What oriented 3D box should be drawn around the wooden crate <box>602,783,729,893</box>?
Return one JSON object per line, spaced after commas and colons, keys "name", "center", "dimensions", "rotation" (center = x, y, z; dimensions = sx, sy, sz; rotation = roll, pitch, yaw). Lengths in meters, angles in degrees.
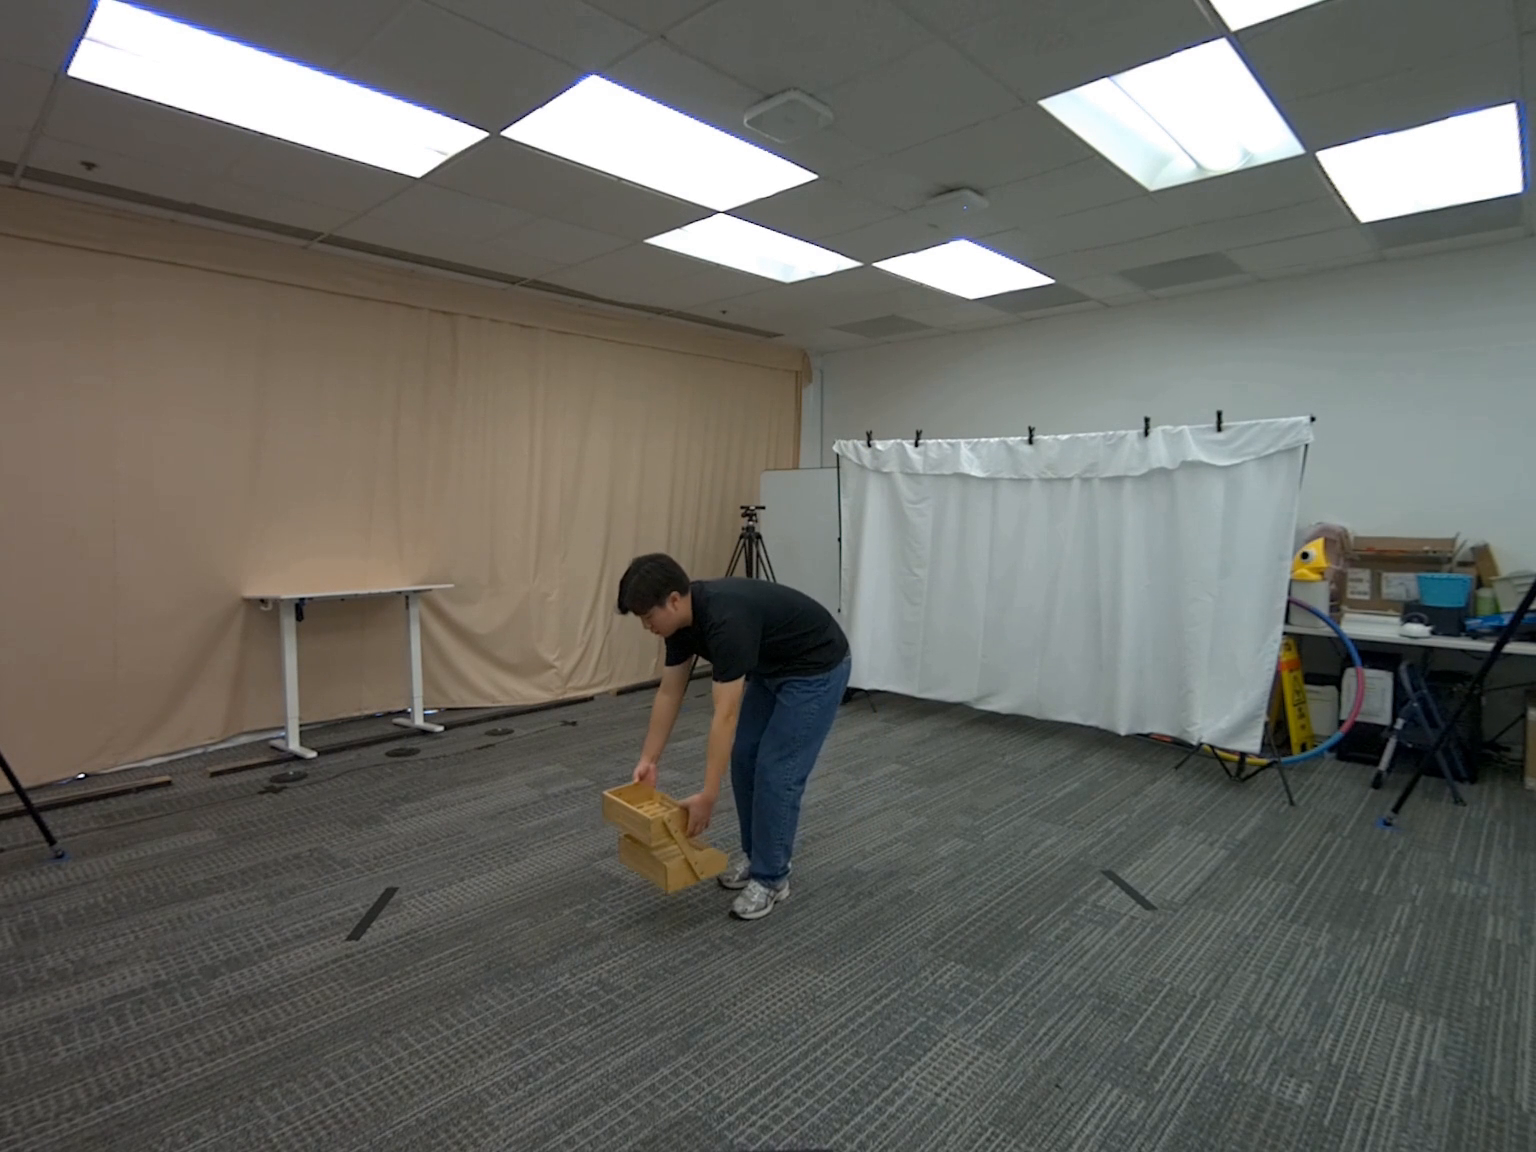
{"name": "wooden crate", "center": [-0.339, 0.851, 2.799], "dimensions": [0.293, 0.272, 0.335], "rotation": [-8, 7, -38]}
